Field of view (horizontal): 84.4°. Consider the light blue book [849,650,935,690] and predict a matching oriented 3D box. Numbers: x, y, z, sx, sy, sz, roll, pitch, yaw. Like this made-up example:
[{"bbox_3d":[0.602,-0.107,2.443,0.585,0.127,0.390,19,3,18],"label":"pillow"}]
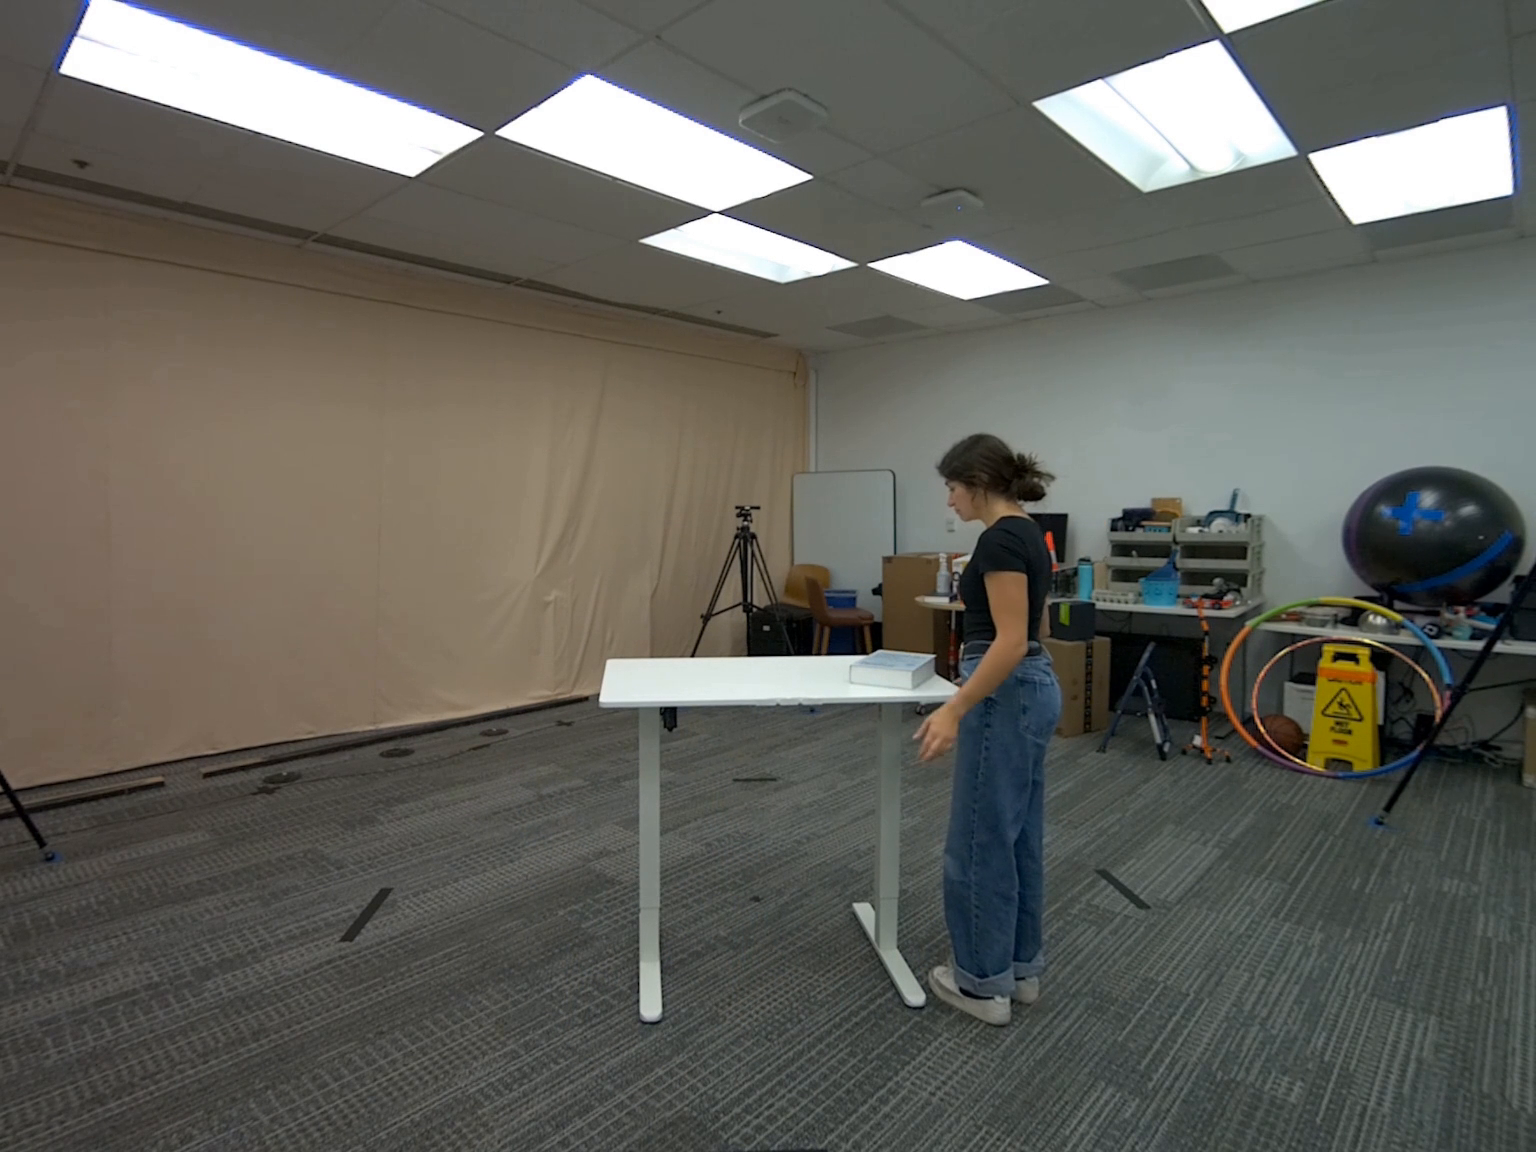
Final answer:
[{"bbox_3d":[0.382,0.281,2.482,0.196,0.059,0.255,3,6,26],"label":"light blue book"}]
